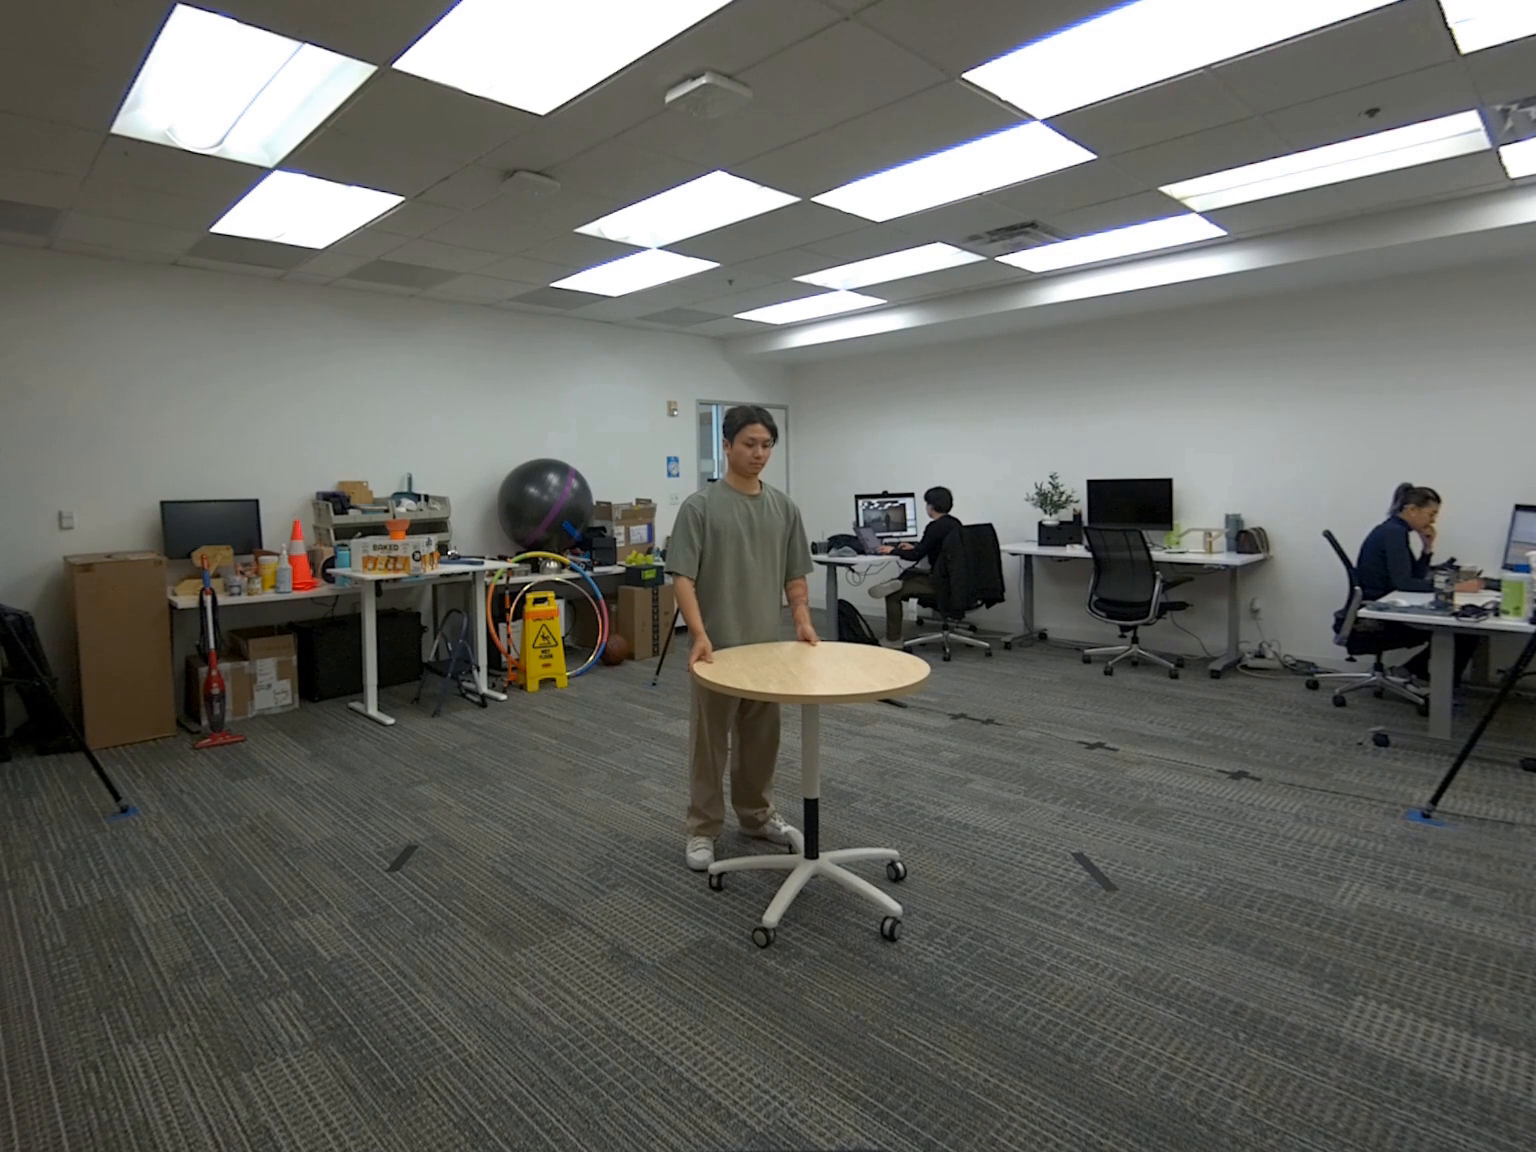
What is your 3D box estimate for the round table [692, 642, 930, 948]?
[{"bbox_3d":[0.138,0.678,2.824,0.784,0.783,0.789,-1,5,-2],"label":"round table"}]
